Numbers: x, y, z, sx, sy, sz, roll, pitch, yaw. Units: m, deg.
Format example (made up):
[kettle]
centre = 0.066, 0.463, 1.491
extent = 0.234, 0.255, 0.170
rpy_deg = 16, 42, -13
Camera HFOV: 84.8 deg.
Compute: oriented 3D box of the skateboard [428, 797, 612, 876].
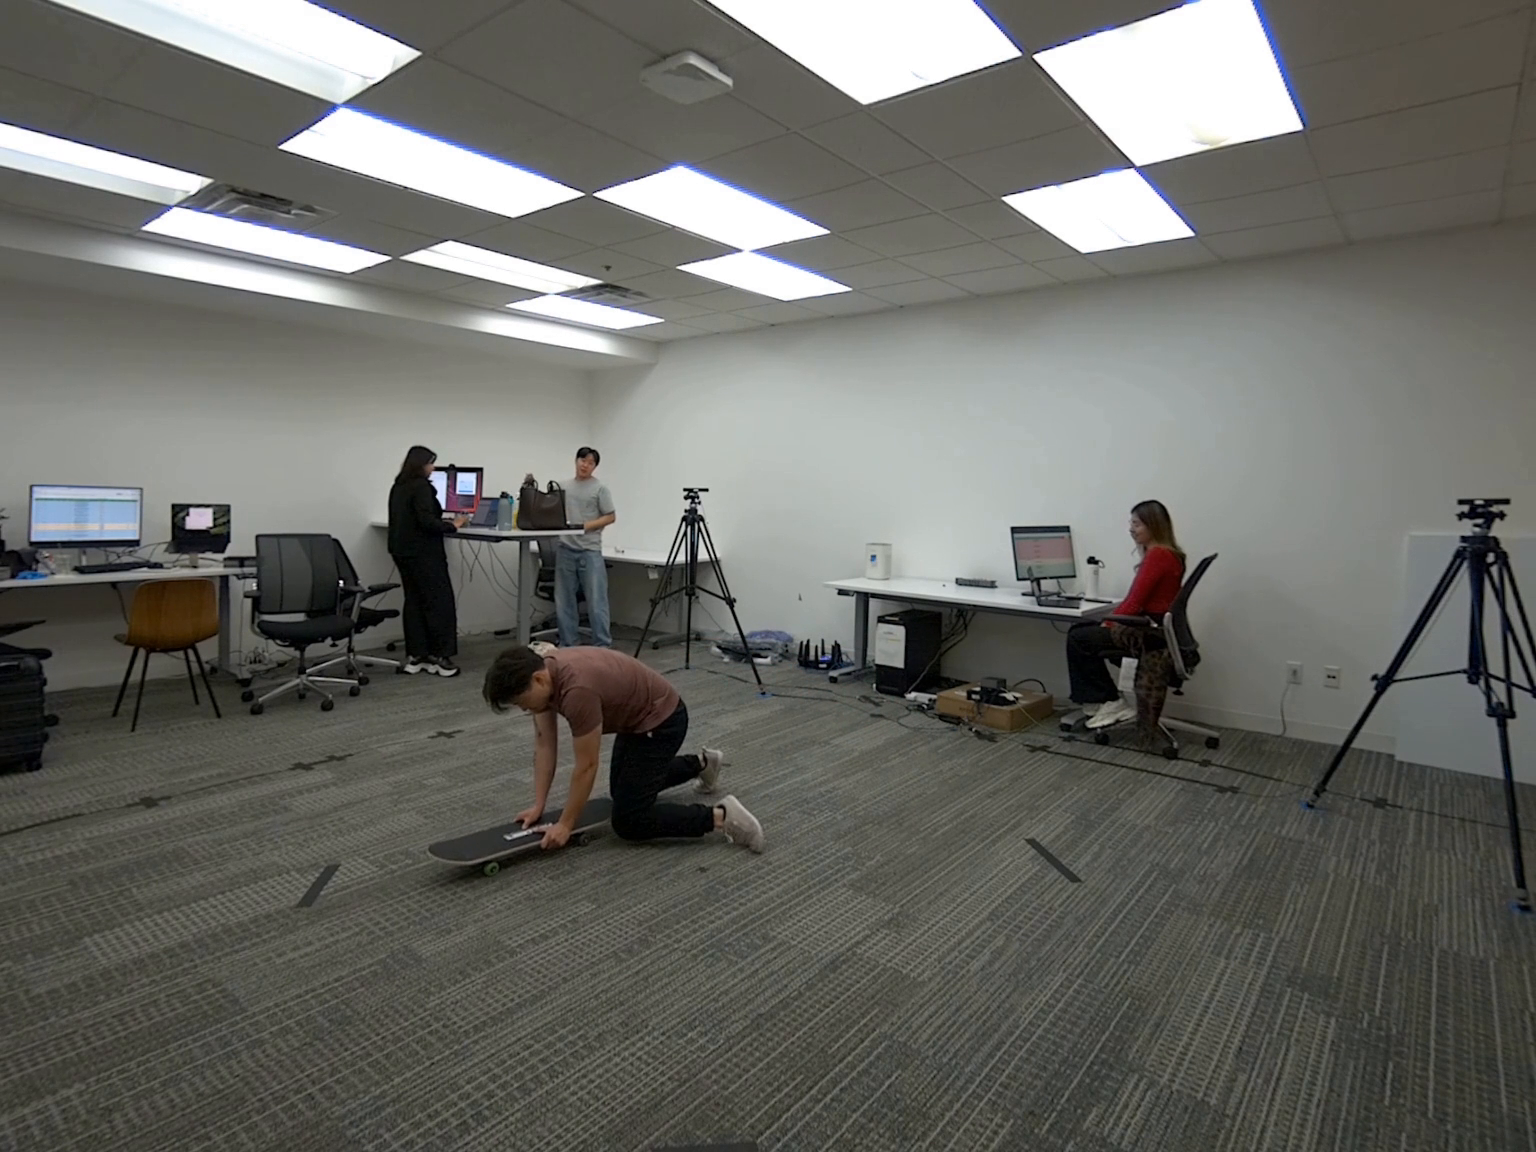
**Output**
[skateboard]
centre = -0.918, 1.000, 3.221
extent = 0.761, 0.110, 0.200
rpy_deg = -2, 9, -45
